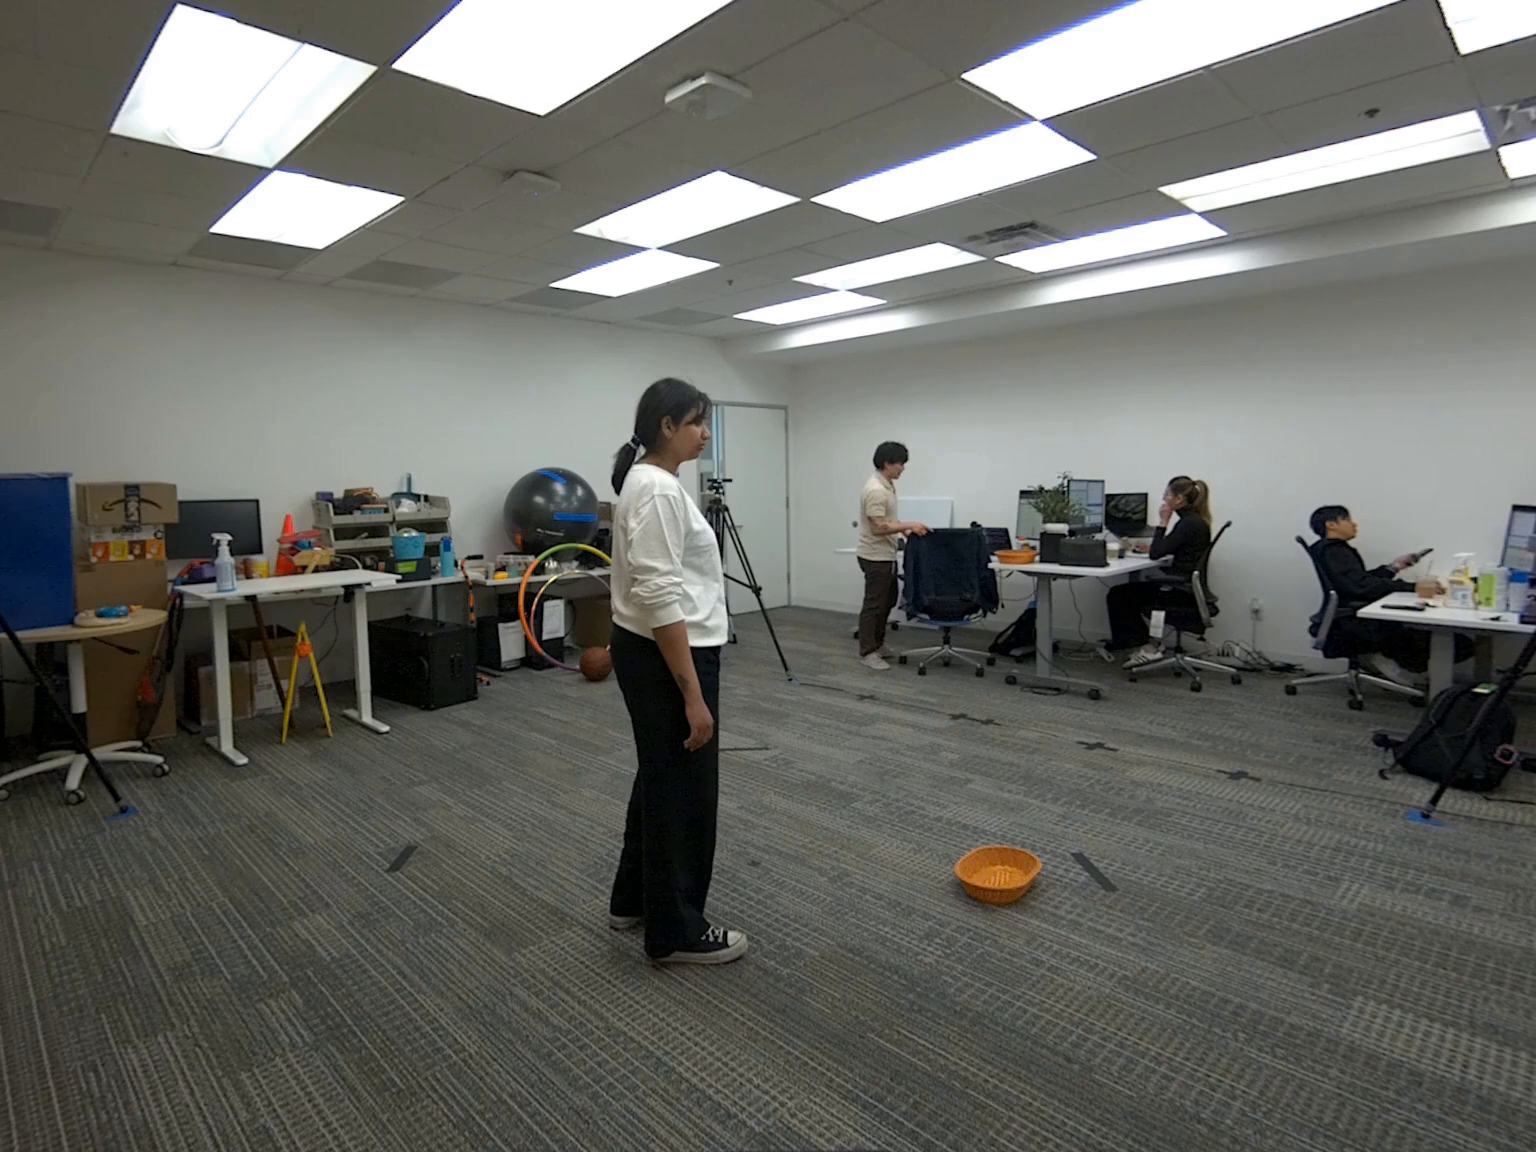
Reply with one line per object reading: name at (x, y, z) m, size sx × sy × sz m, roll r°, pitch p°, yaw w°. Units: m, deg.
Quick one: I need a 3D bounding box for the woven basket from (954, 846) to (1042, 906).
woven basket at (0.780, 1.011, 2.908) m, size 0.260 × 0.073 × 0.342 m, roll 3°, pitch 8°, yaw 39°
